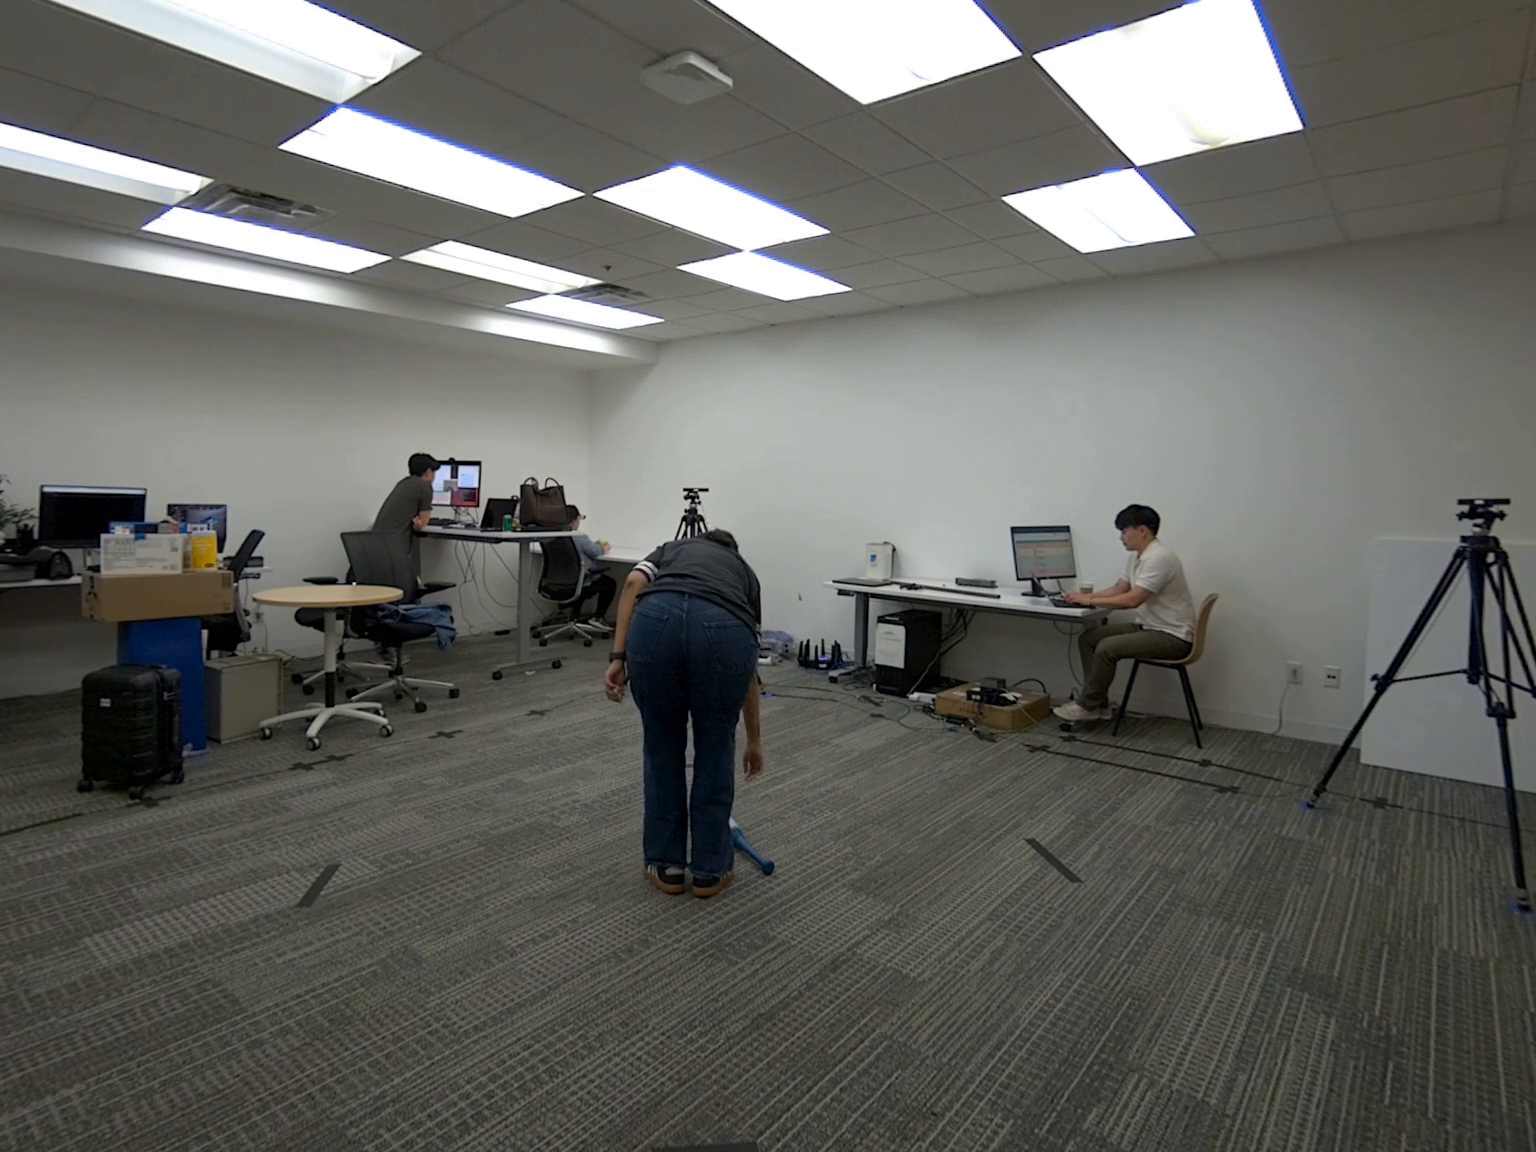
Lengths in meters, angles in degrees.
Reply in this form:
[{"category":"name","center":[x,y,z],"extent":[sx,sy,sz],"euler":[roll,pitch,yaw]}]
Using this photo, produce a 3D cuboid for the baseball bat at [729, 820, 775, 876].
[{"category":"baseball bat","center":[-0.120,1.010,3.324],"extent":[0.087,0.088,0.561],"euler":[-1,10,-28]}]
